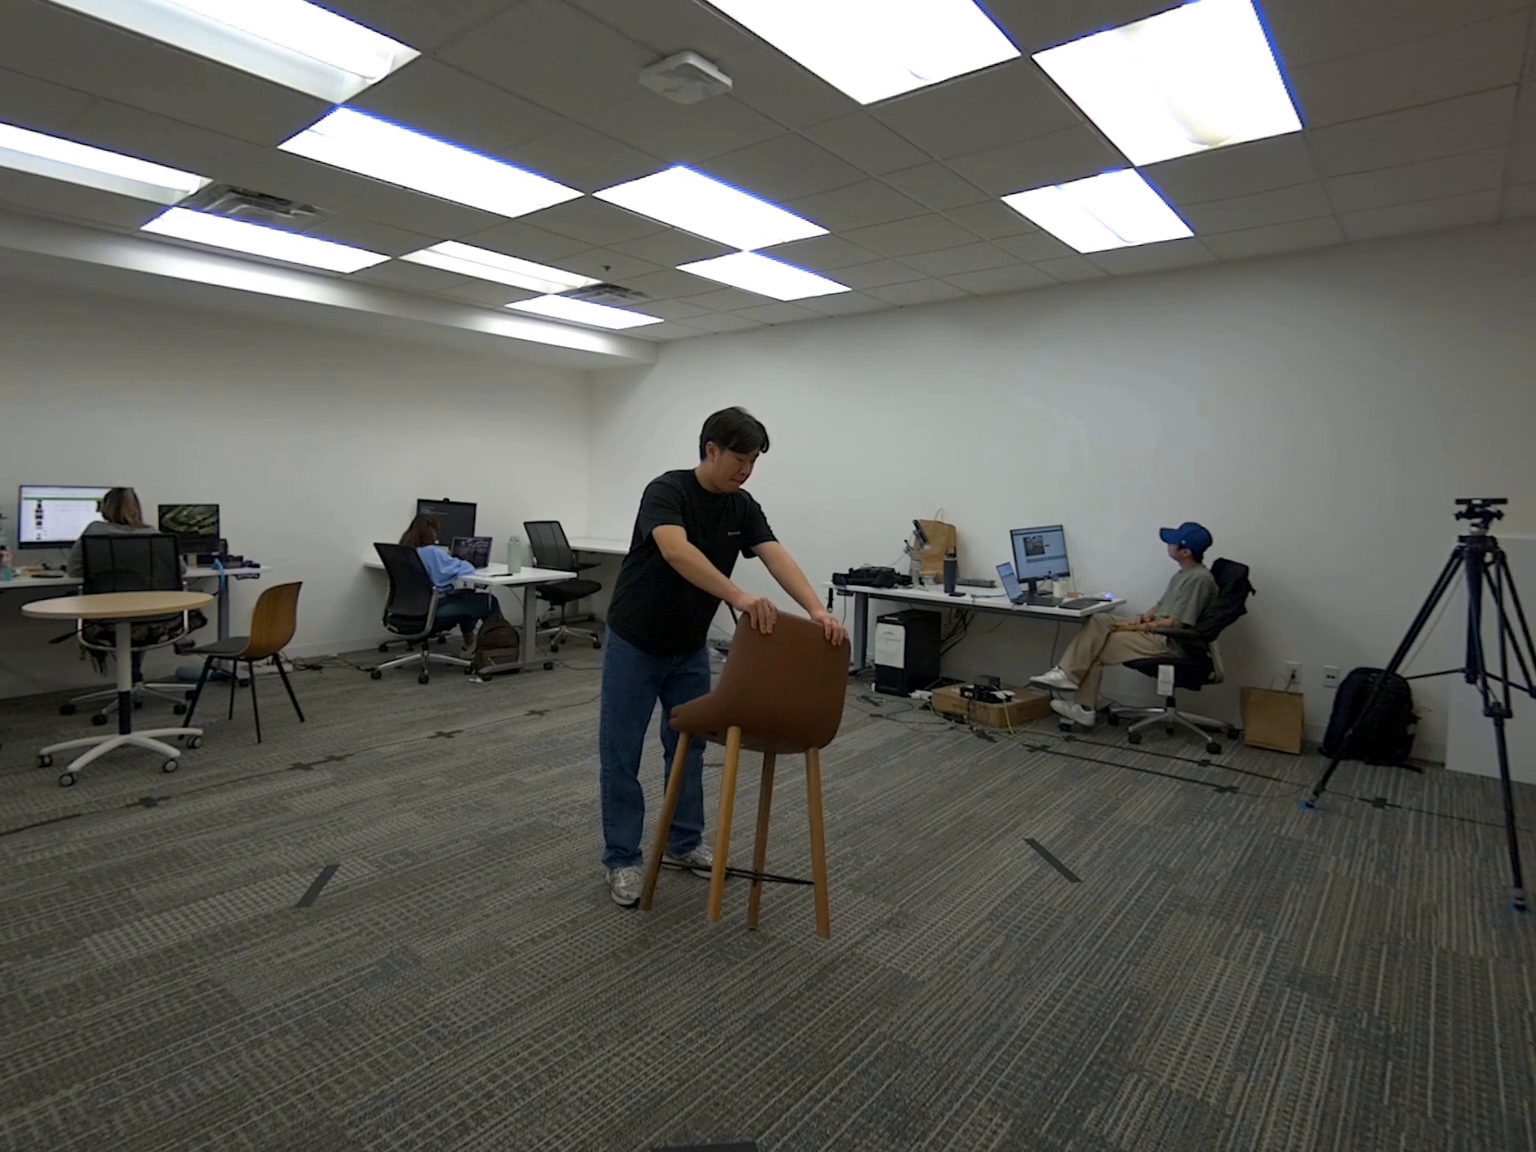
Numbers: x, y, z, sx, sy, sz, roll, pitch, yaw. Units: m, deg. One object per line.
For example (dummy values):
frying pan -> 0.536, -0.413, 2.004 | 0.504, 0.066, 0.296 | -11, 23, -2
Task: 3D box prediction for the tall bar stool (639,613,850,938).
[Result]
tall bar stool -> -0.059, 0.595, 2.616 | 0.443, 0.904, 0.473 | 18, -24, -25
